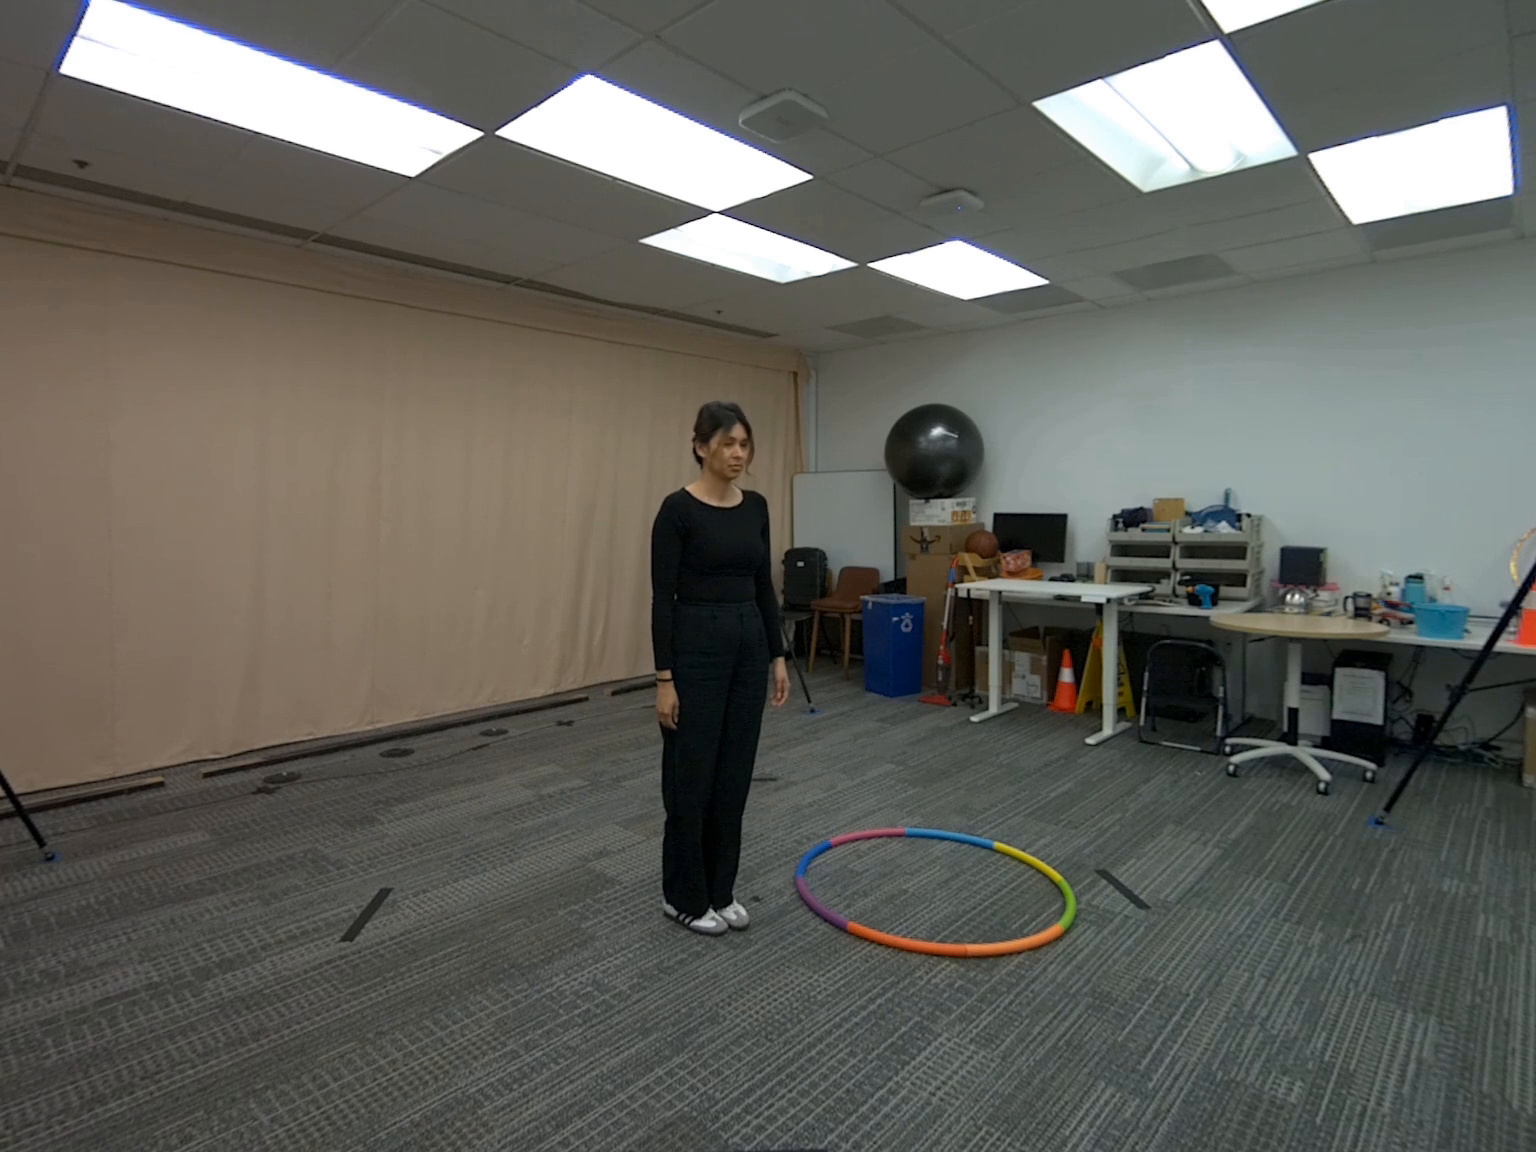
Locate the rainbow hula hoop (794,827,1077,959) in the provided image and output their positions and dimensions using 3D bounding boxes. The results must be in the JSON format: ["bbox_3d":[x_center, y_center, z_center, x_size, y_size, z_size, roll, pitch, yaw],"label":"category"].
[{"bbox_3d":[0.594,1.108,3.078,0.985,0.051,0.989,-1,5,-2],"label":"rainbow hula hoop"}]
